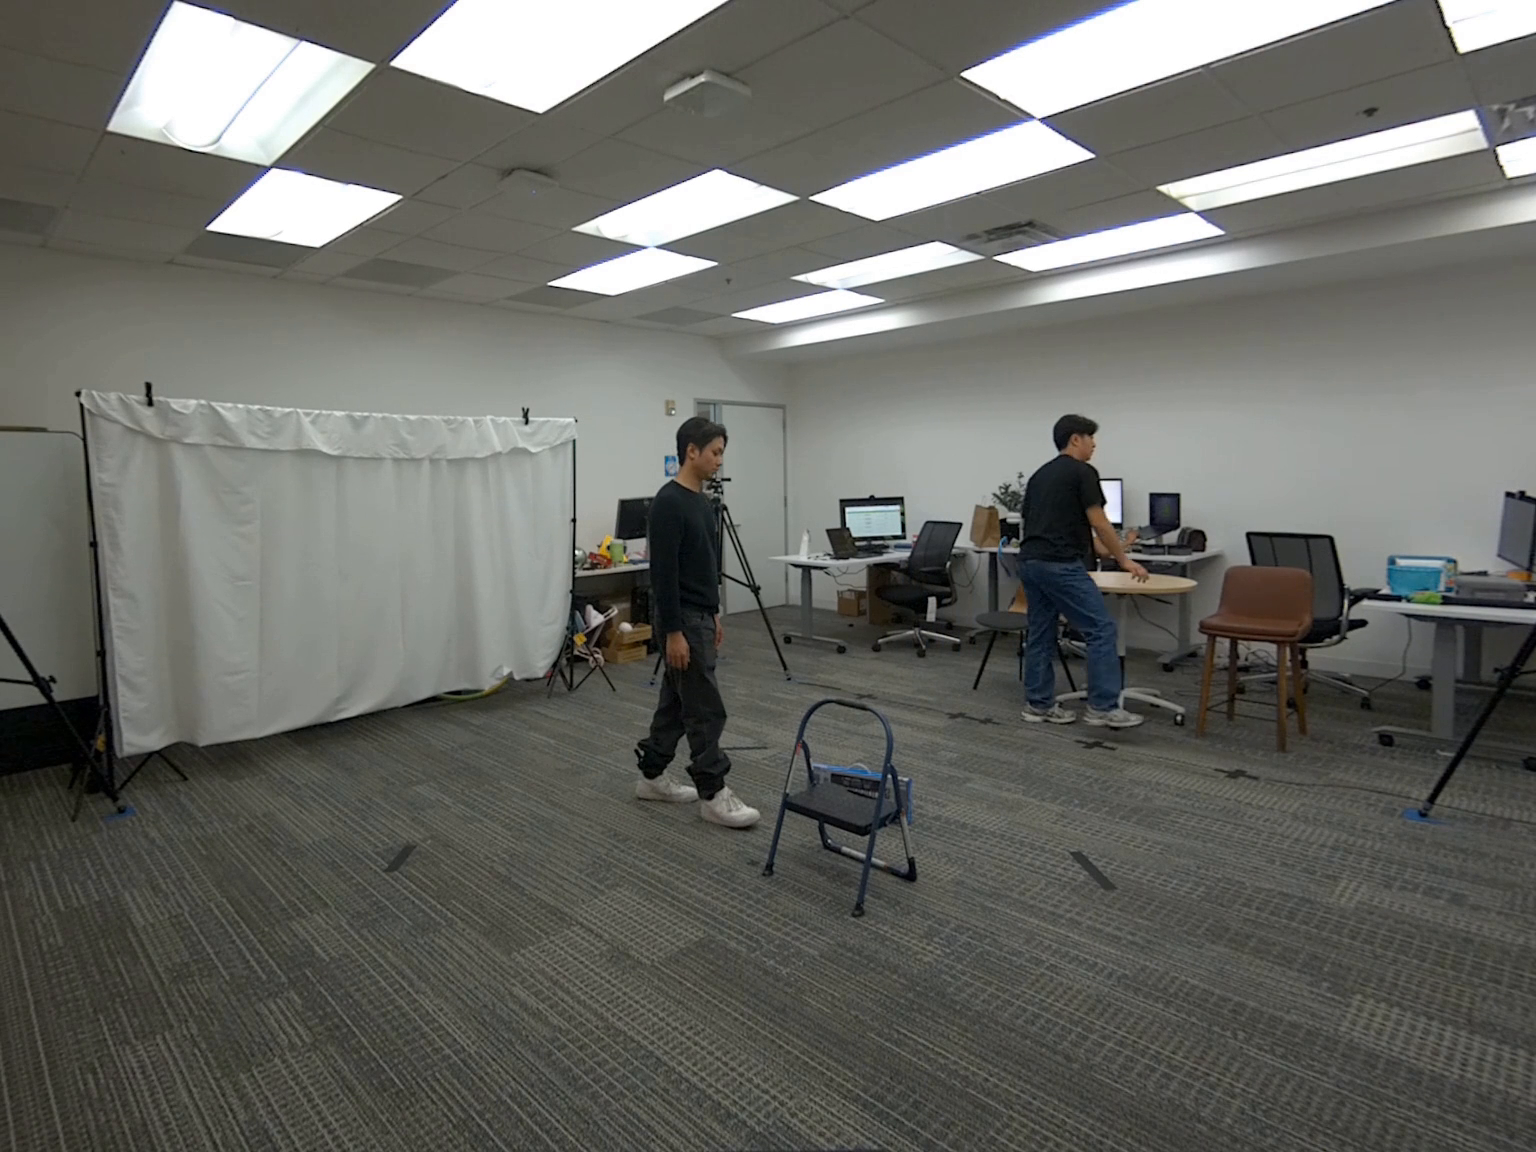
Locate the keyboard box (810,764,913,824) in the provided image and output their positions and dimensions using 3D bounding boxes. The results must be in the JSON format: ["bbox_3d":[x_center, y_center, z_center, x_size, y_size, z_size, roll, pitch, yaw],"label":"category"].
[{"bbox_3d":[0.377,0.895,3.539,0.448,0.176,0.057,3,-2,29],"label":"keyboard box"}]
